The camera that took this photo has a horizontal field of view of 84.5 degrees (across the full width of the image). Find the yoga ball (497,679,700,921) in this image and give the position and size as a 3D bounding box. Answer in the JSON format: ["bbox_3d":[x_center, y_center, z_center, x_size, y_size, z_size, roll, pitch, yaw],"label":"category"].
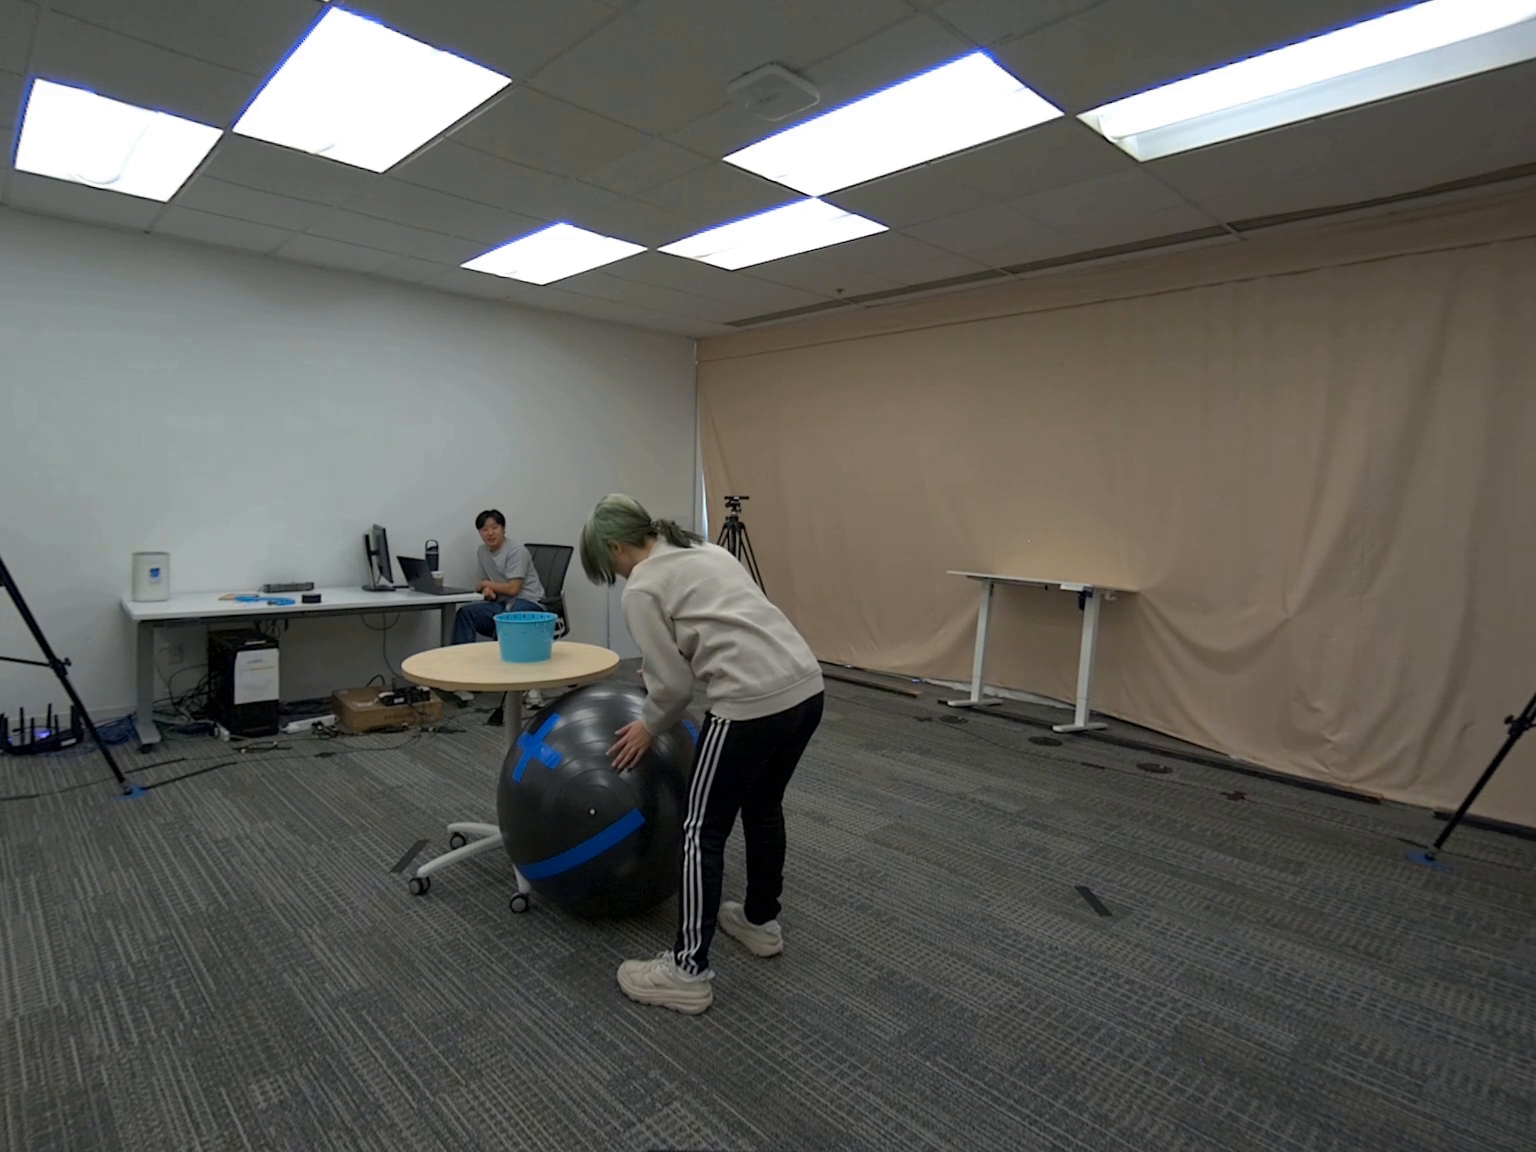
[{"bbox_3d":[-0.532,0.745,2.858,0.757,0.756,0.761,1,4,-1],"label":"yoga ball"}]
